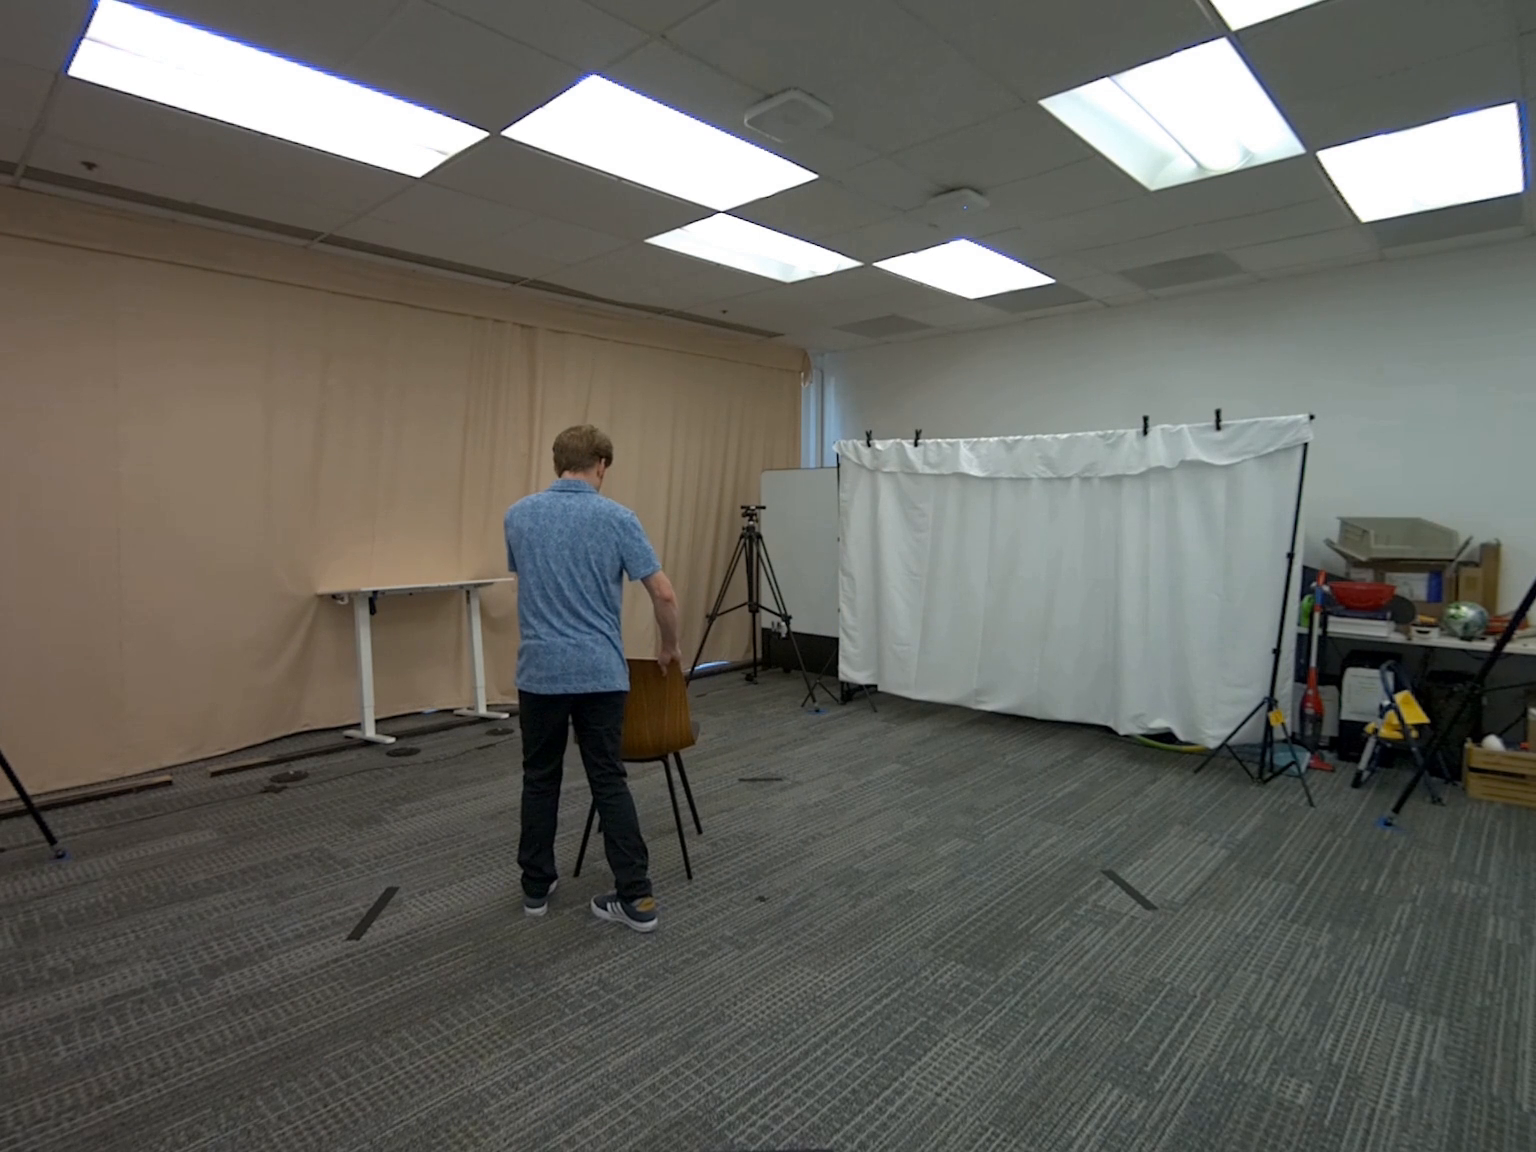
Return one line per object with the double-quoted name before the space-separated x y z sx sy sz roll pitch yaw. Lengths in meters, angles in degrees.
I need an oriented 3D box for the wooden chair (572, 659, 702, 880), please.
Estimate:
"wooden chair" -0.509 0.690 3.357 0.480 0.873 0.524 -1 7 2
